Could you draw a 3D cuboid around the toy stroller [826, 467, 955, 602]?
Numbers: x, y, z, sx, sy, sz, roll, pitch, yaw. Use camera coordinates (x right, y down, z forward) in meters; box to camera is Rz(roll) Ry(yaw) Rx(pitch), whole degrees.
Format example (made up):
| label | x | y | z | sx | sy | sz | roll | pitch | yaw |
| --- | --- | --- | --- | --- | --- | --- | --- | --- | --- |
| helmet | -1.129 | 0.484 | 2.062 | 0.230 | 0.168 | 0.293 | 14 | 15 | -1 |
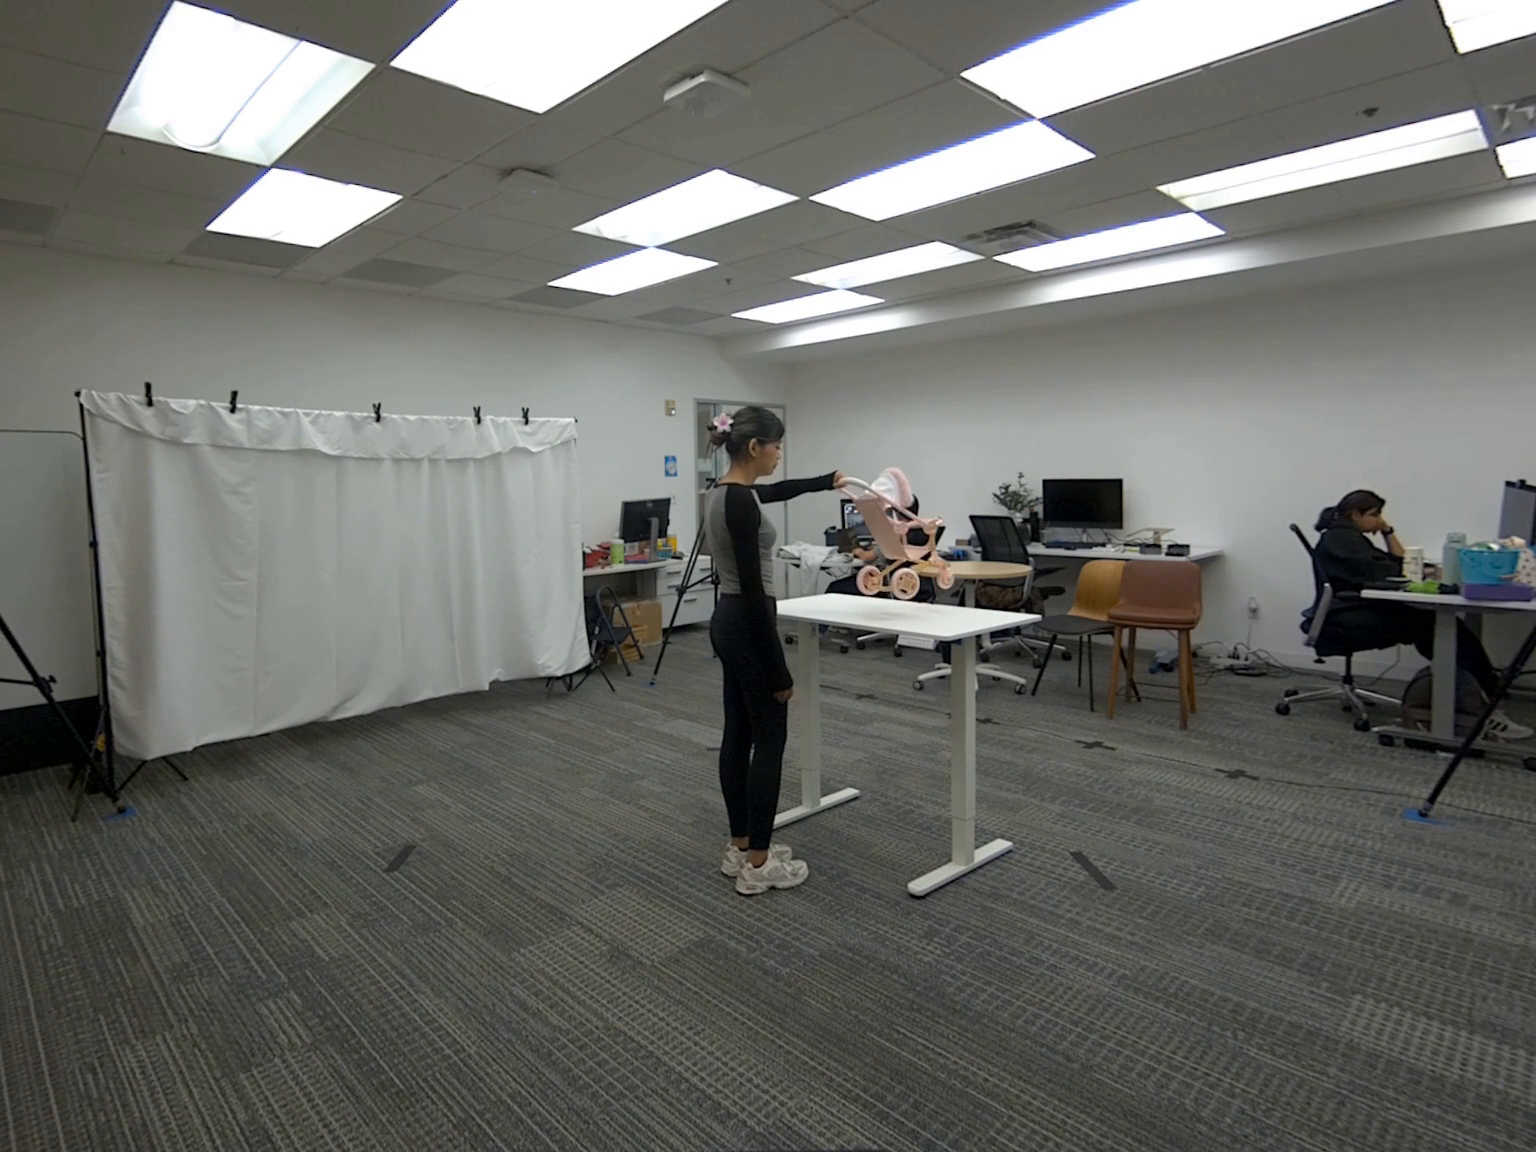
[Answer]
| label | x | y | z | sx | sy | sz | roll | pitch | yaw |
| --- | --- | --- | --- | --- | --- | --- | --- | --- | --- |
| toy stroller | 0.494 | -0.153 | 3.149 | 0.338 | 0.531 | 0.286 | -20 | 7 | -15 |
